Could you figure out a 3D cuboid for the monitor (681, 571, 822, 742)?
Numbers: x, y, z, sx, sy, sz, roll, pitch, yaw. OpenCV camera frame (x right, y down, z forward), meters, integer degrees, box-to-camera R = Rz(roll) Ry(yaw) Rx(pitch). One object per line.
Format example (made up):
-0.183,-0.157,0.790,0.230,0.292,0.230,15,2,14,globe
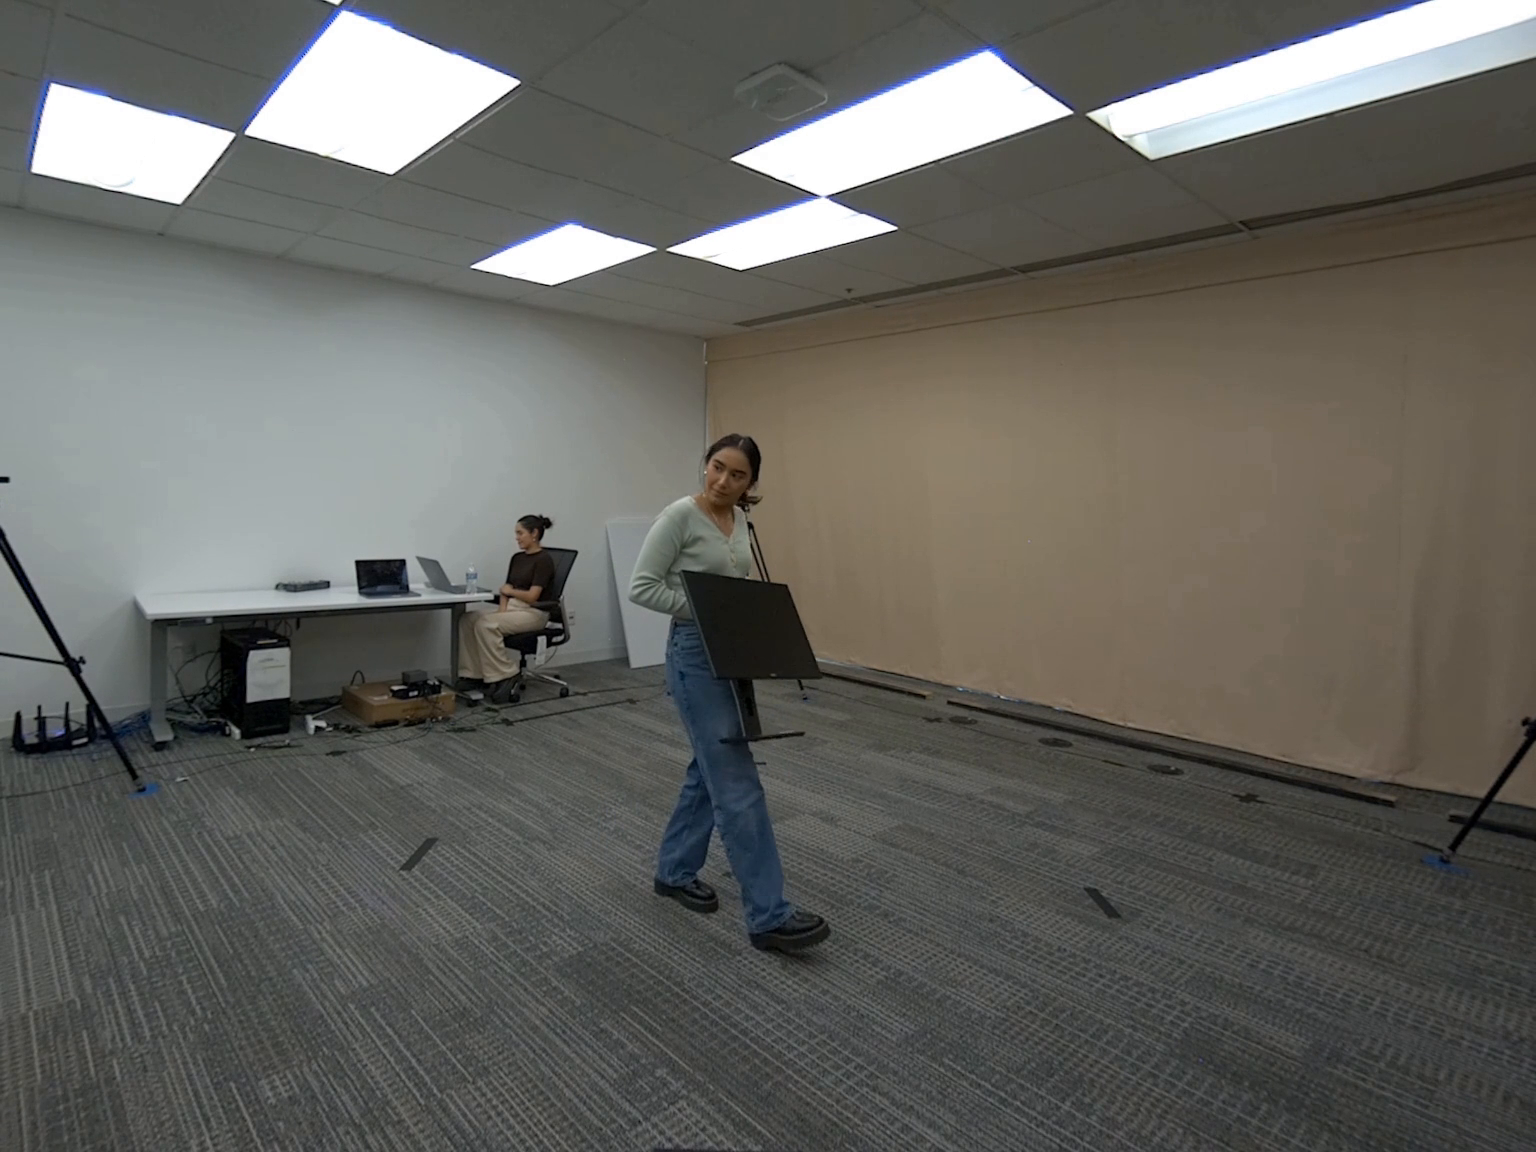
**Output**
-0.065,0.250,2.635,0.177,0.521,0.516,-14,-14,35,monitor
